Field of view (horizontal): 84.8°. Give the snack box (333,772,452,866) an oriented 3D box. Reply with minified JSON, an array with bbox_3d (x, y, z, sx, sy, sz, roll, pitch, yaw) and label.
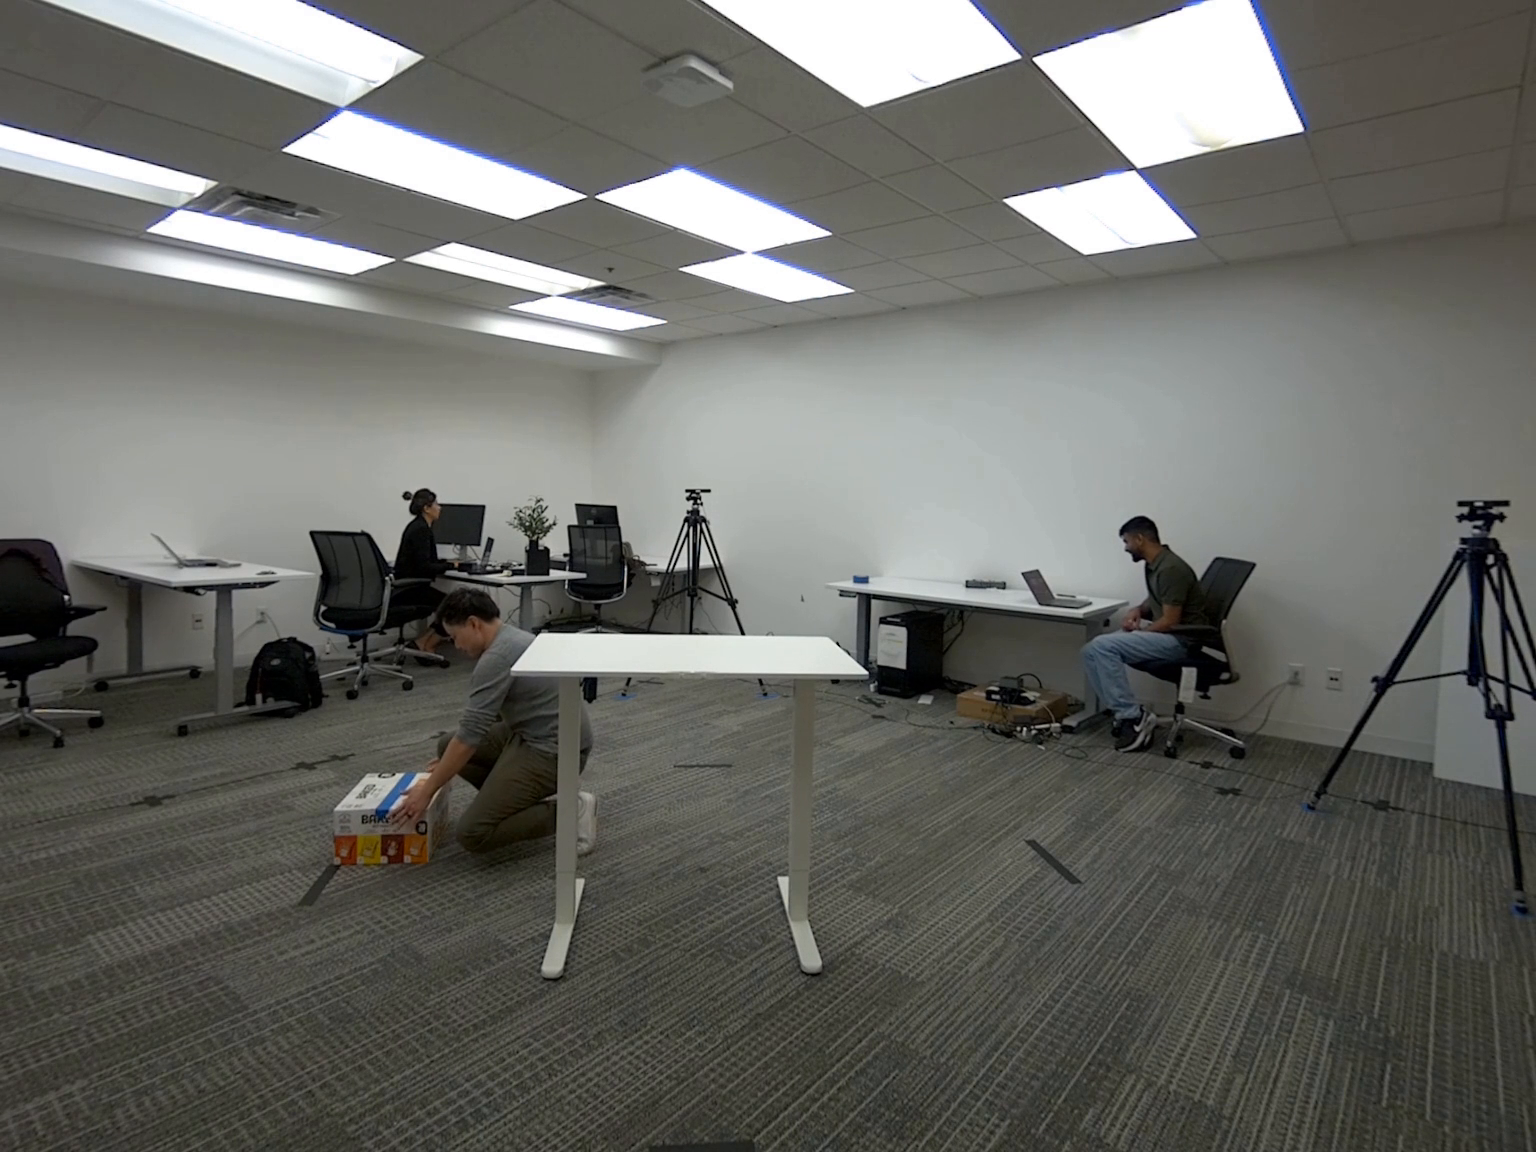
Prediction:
[{"bbox_3d":[-1.465,0.935,3.313,0.338,0.205,0.410,1,6,-8],"label":"snack box"}]
